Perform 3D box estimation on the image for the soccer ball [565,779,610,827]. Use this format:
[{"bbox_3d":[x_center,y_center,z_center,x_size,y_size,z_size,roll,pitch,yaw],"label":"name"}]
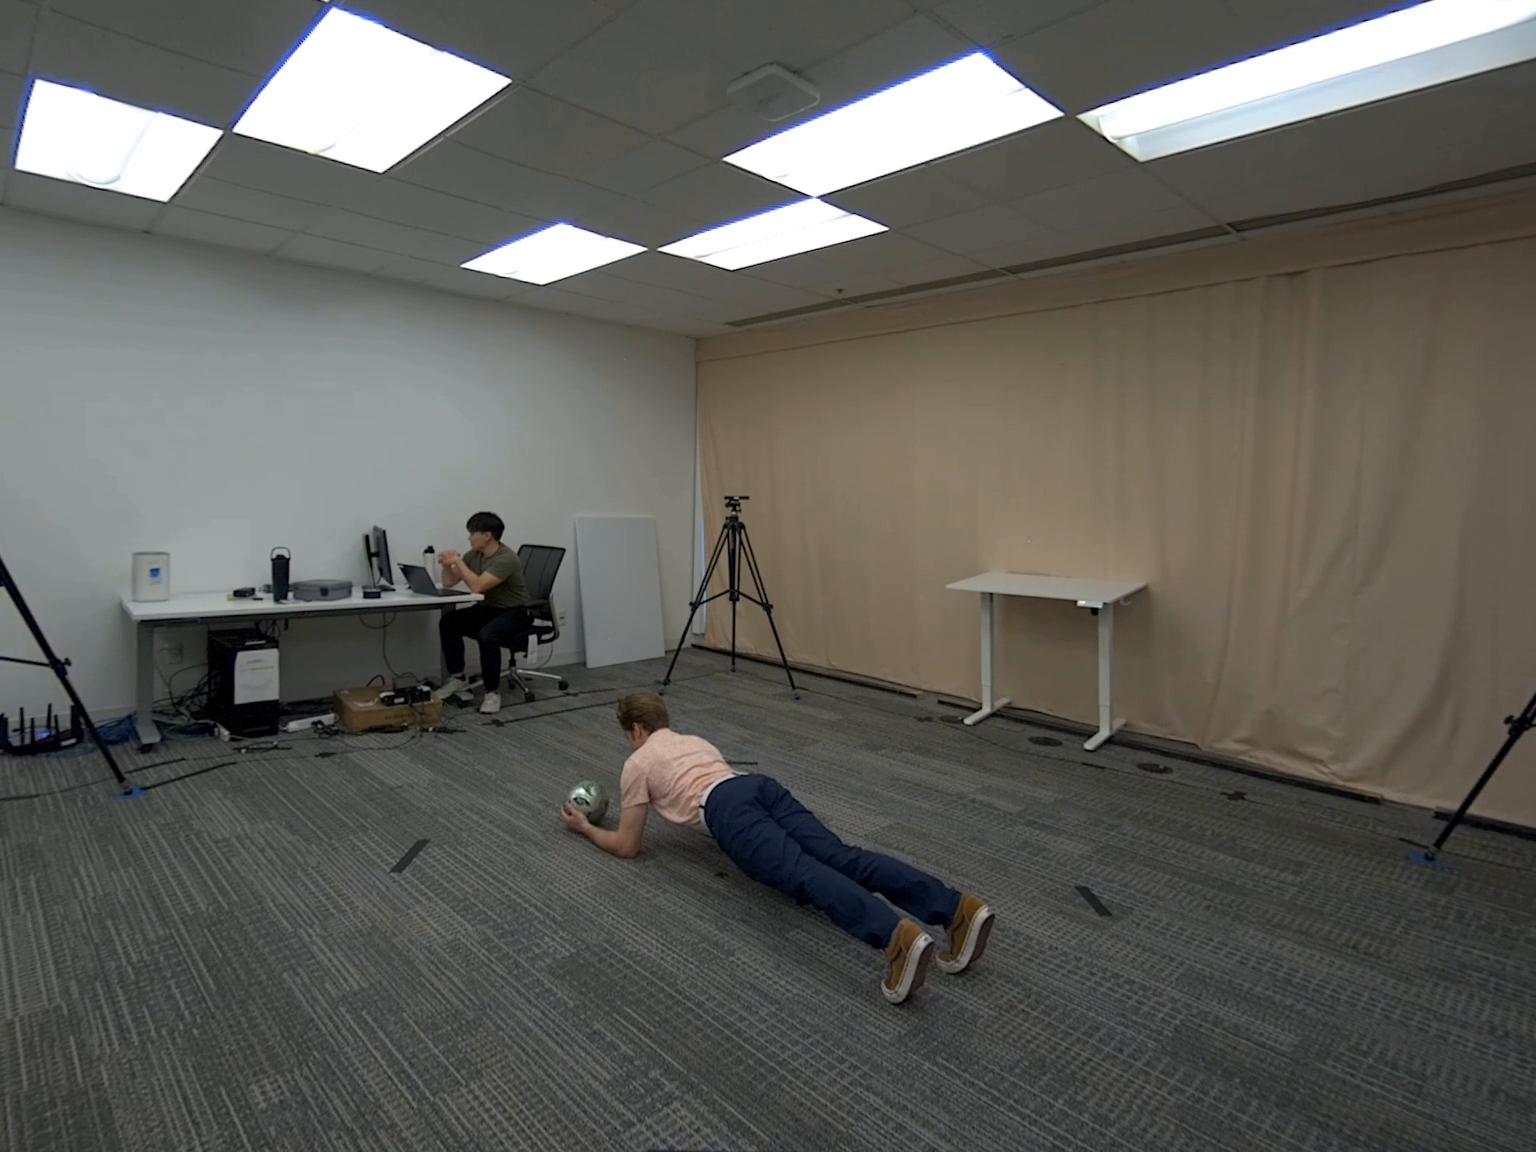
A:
[{"bbox_3d":[-0.755,0.954,3.558,0.187,0.187,0.188,1,4,-1],"label":"soccer ball"}]
